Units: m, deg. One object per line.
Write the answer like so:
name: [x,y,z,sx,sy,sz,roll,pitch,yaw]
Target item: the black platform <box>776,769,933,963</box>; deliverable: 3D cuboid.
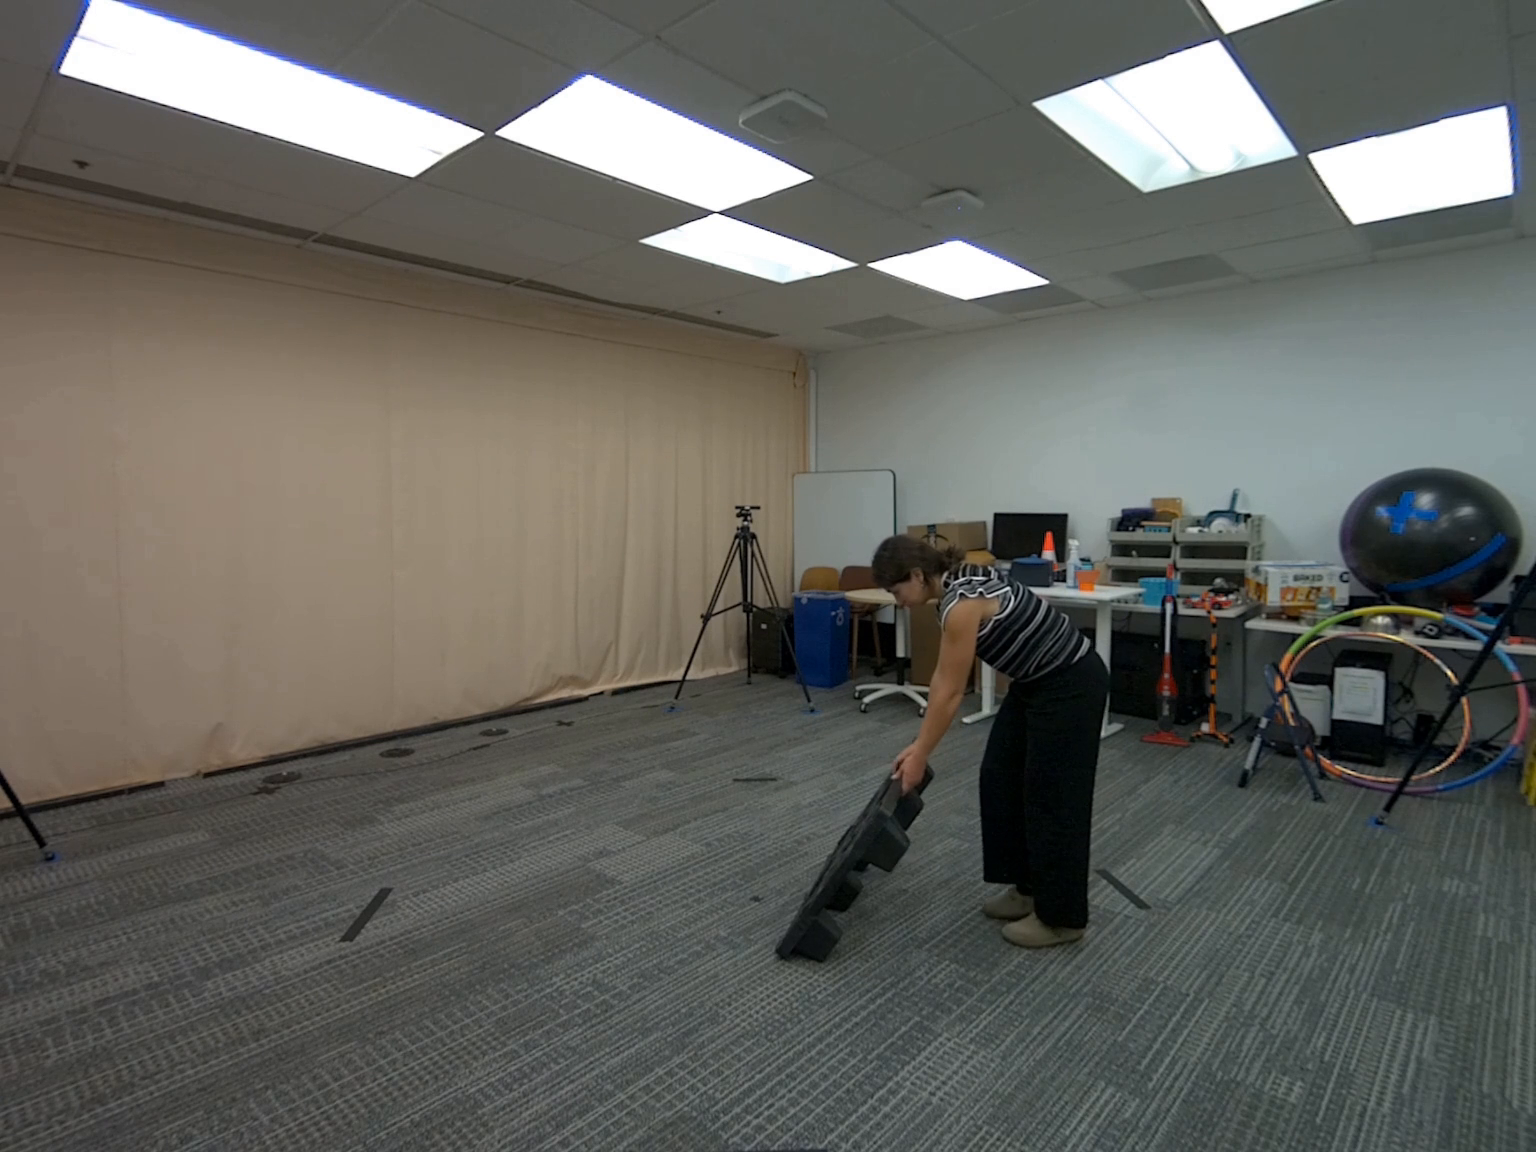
black platform: [0.344,0.920,2.861,0.146,0.605,0.791,35,13,12]
